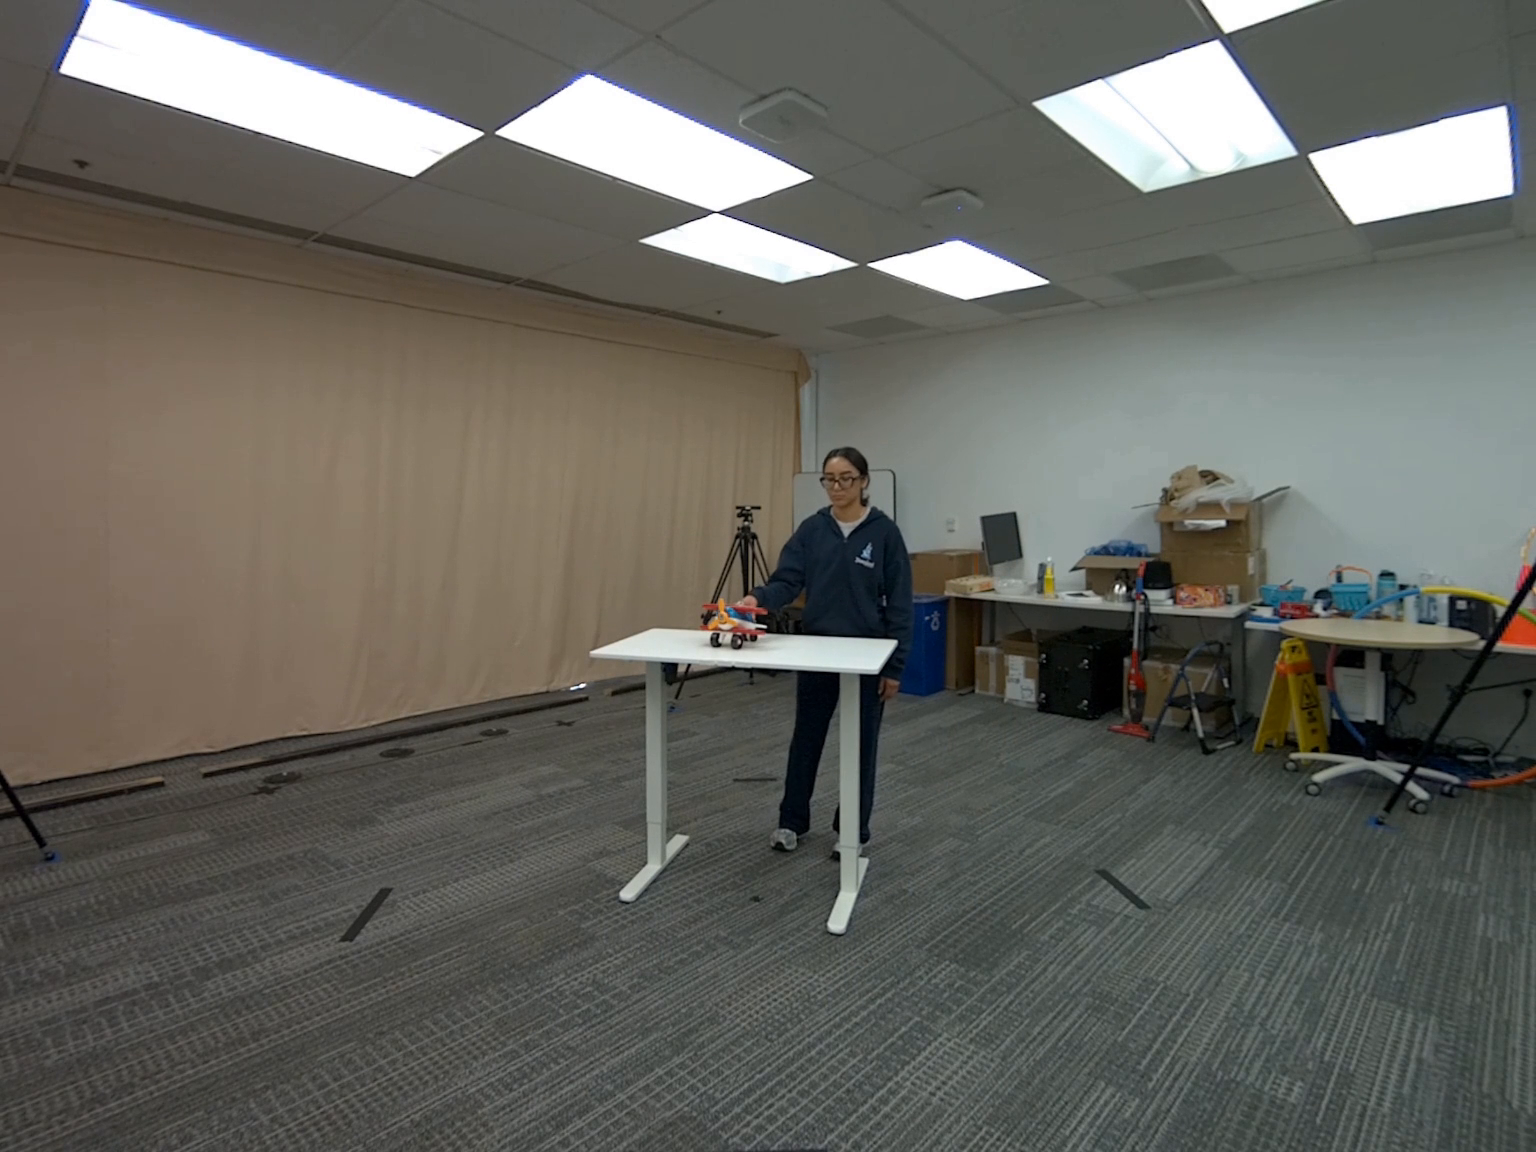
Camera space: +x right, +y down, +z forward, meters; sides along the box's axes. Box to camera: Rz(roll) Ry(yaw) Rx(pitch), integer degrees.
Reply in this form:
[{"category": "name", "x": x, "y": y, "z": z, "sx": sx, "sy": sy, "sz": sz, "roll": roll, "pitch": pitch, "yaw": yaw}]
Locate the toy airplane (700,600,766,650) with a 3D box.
[{"category": "toy airplane", "x": -0.113, "y": 0.176, "z": 3.106, "sx": 0.251, "sy": 0.156, "sz": 0.260, "roll": 0, "pitch": 6, "yaw": 0}]
